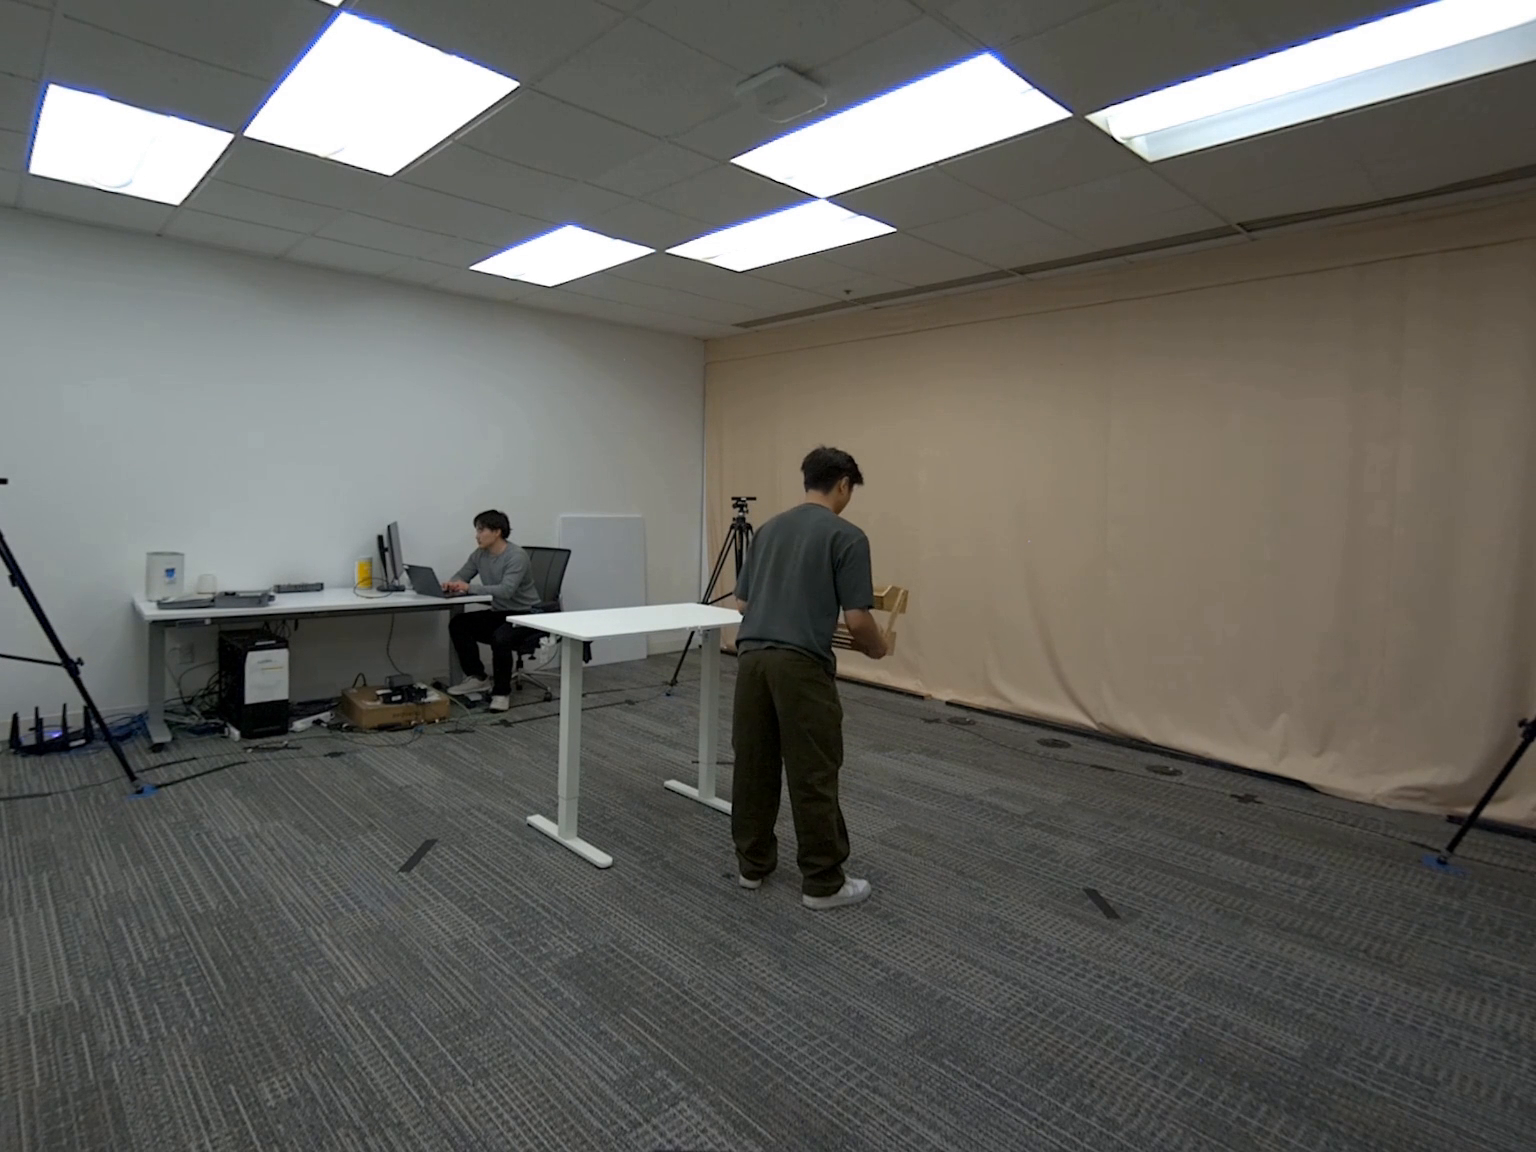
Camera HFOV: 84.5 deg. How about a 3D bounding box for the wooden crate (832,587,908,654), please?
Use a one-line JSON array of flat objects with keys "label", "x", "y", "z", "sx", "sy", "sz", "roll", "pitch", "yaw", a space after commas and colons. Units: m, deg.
[{"label": "wooden crate", "x": 0.318, "y": 0.146, "z": 3.235, "sx": 0.333, "sy": 0.274, "sz": 0.294, "roll": 8, "pitch": -3, "yaw": 35}]
